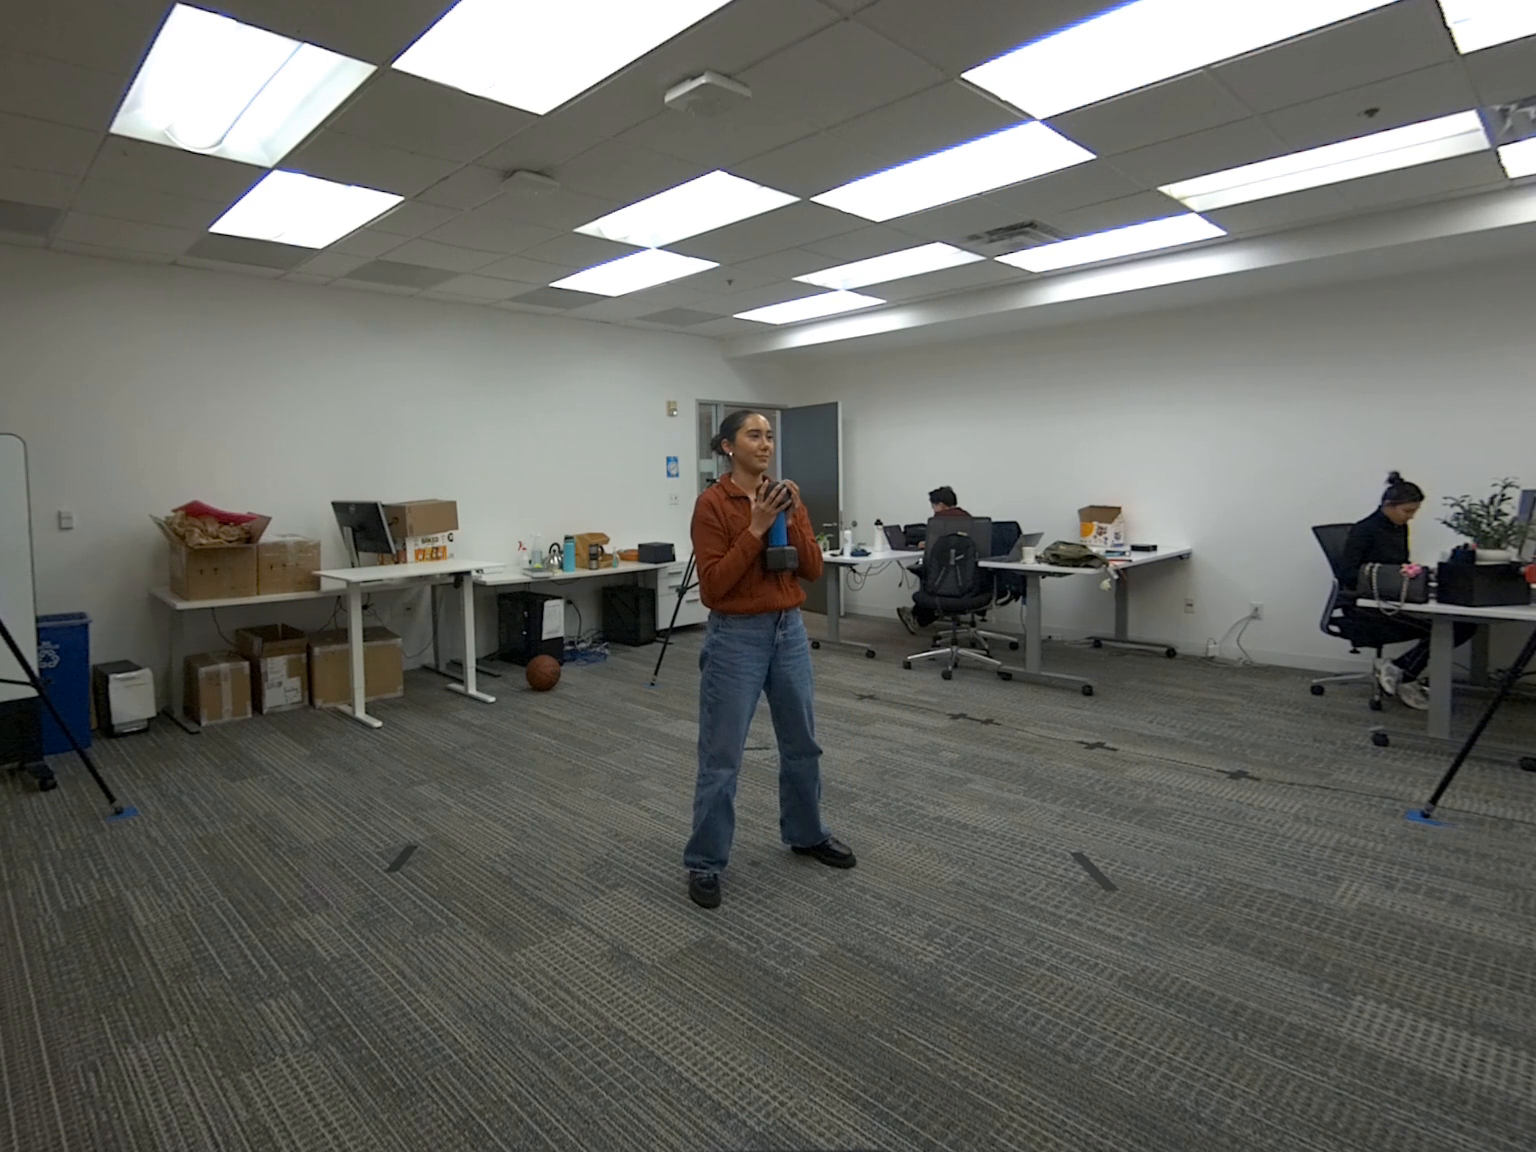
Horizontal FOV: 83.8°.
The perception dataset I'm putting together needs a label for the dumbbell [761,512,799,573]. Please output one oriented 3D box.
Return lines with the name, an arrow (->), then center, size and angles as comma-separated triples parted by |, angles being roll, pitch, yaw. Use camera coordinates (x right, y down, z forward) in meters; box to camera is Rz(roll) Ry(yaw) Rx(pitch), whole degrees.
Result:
dumbbell -> 0.012, -0.150, 2.806 | 0.120, 0.295, 0.111 | -6, -6, -41
